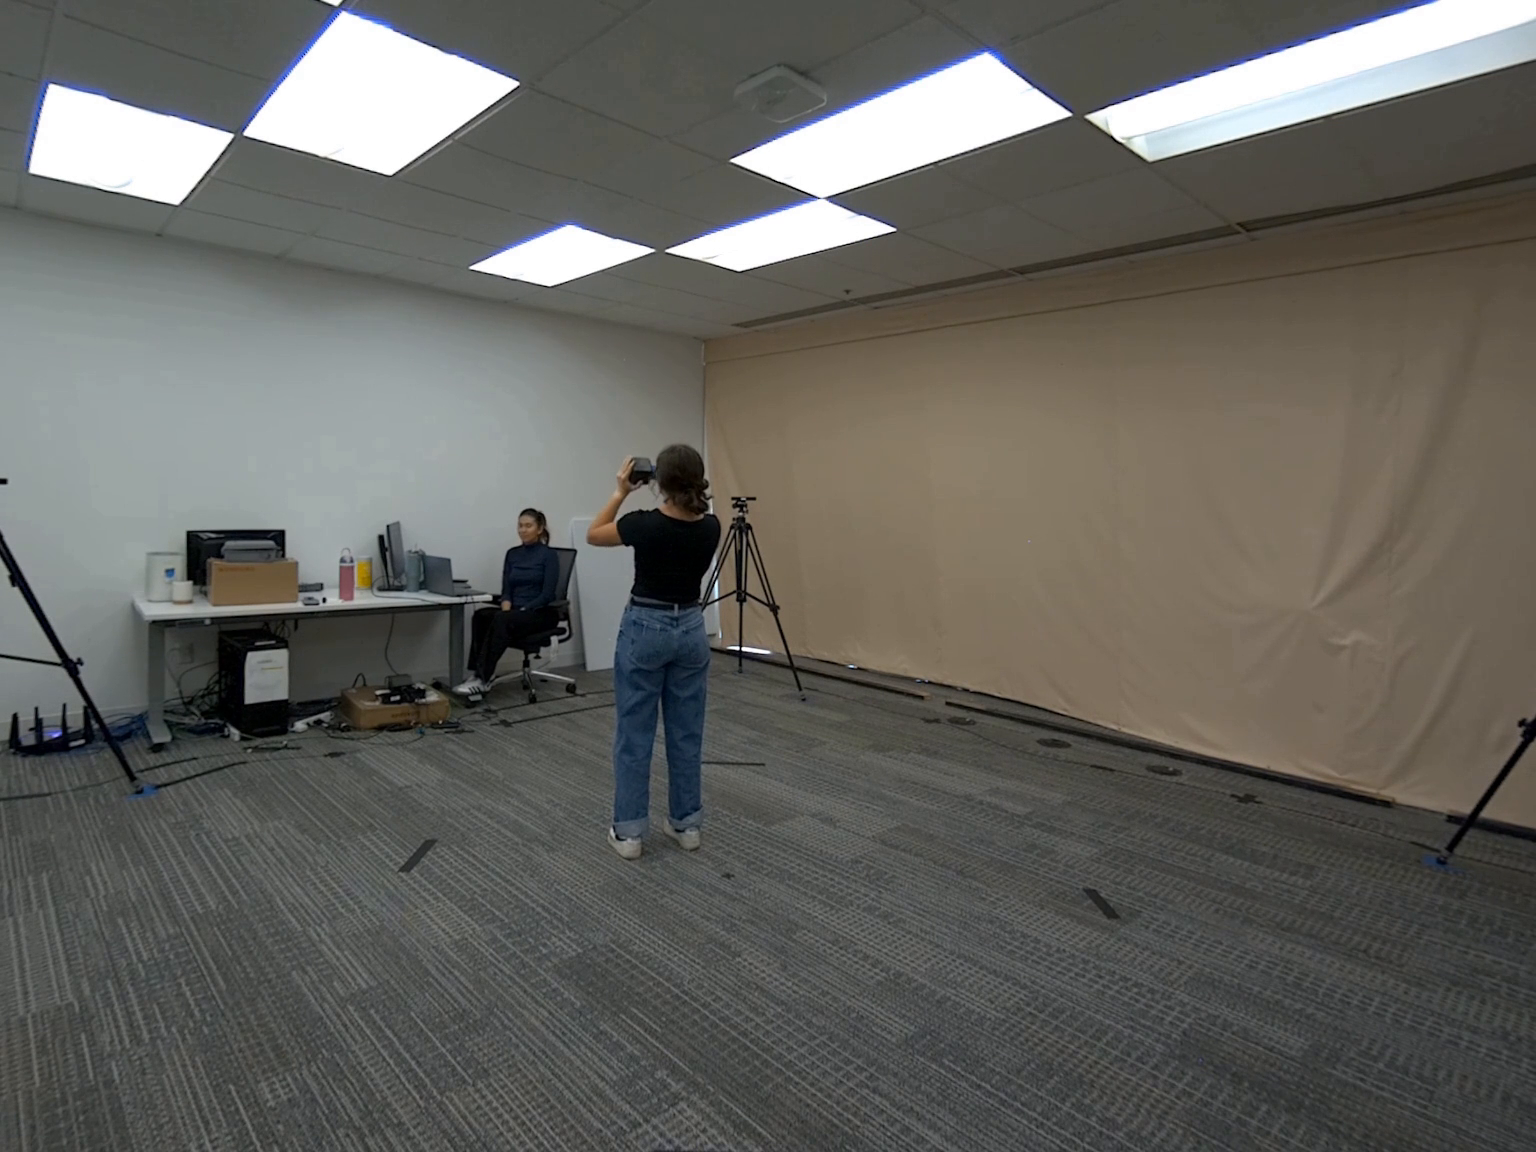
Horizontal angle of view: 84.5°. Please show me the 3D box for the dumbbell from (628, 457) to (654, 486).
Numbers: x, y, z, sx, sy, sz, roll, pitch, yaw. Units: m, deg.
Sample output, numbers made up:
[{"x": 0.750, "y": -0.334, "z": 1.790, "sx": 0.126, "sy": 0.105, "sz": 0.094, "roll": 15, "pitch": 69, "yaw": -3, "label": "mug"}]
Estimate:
[{"x": -0.421, "y": -0.423, "z": 3.391, "sx": 0.288, "sy": 0.125, "sz": 0.108, "roll": 0, "pitch": -27, "yaw": -26, "label": "dumbbell"}]
